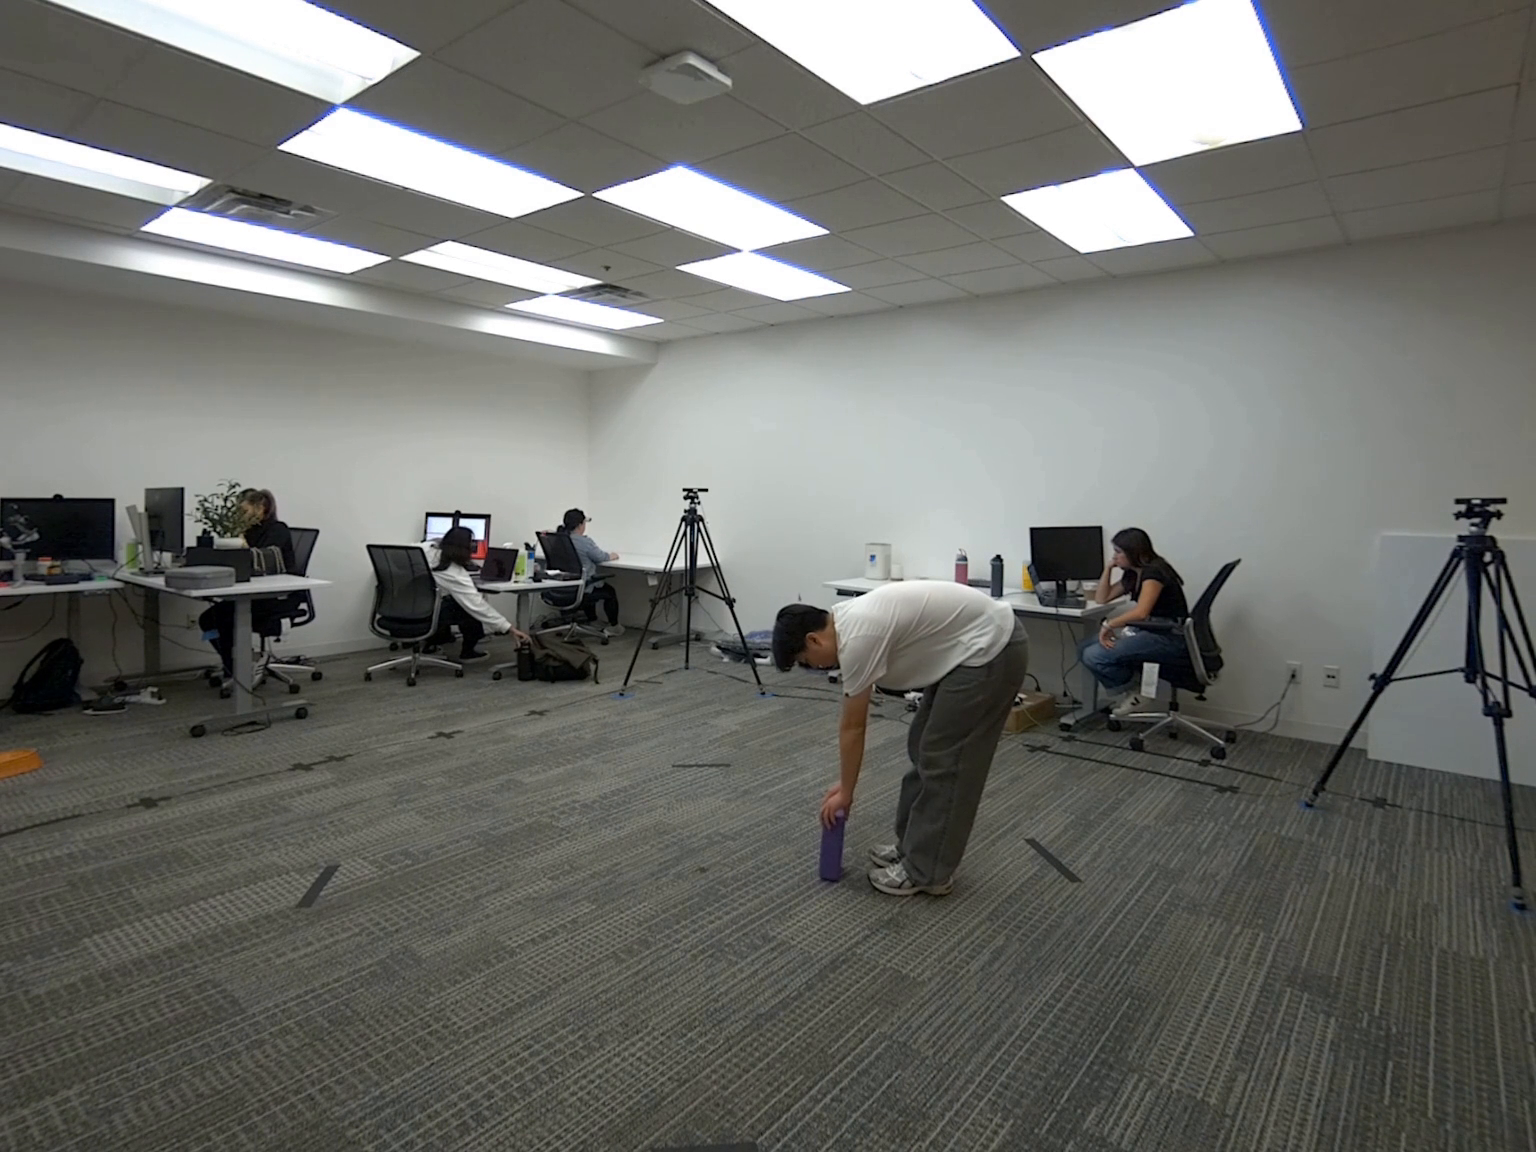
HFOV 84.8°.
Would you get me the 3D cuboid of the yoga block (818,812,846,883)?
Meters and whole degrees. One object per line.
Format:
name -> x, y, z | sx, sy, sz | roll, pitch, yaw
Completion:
yoga block -> 0.248, 0.966, 3.103 | 0.077, 0.229, 0.148 | 3, 3, 5
